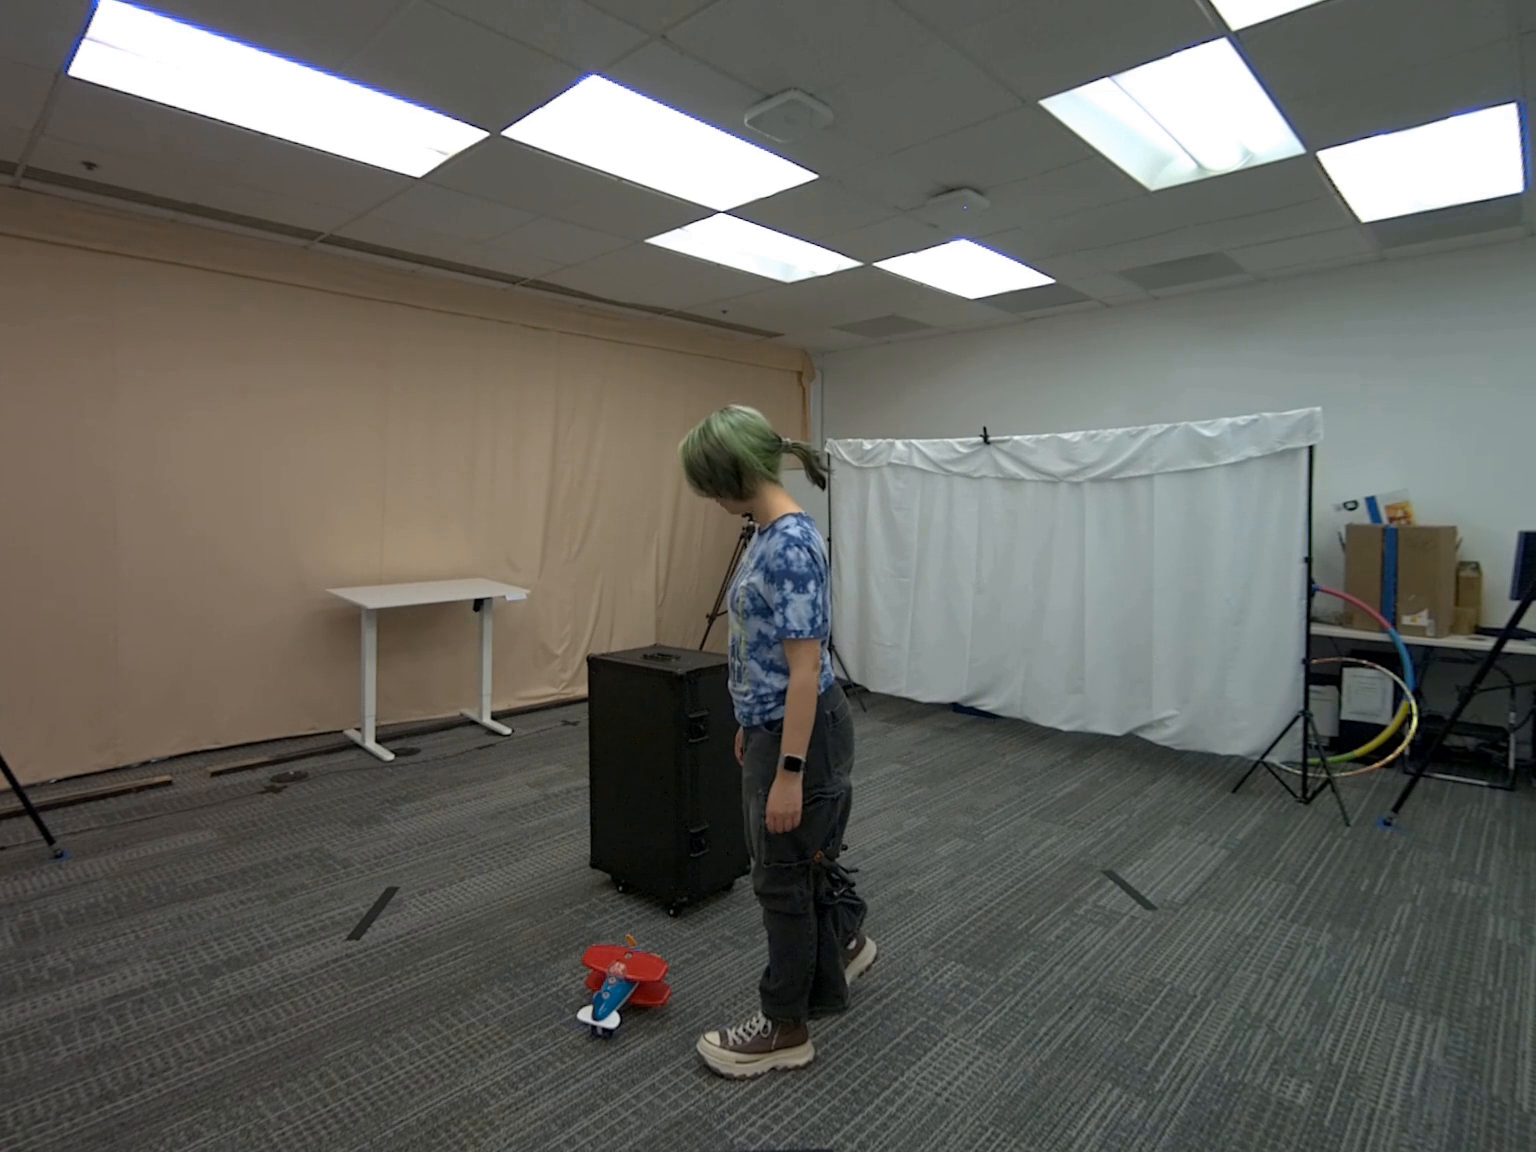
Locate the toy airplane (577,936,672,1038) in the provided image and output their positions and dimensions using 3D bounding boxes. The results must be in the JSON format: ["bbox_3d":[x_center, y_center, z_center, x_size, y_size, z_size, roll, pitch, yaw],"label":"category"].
[{"bbox_3d":[-0.389,1.125,2.292,0.250,0.156,0.261,0,3,-6],"label":"toy airplane"}]
